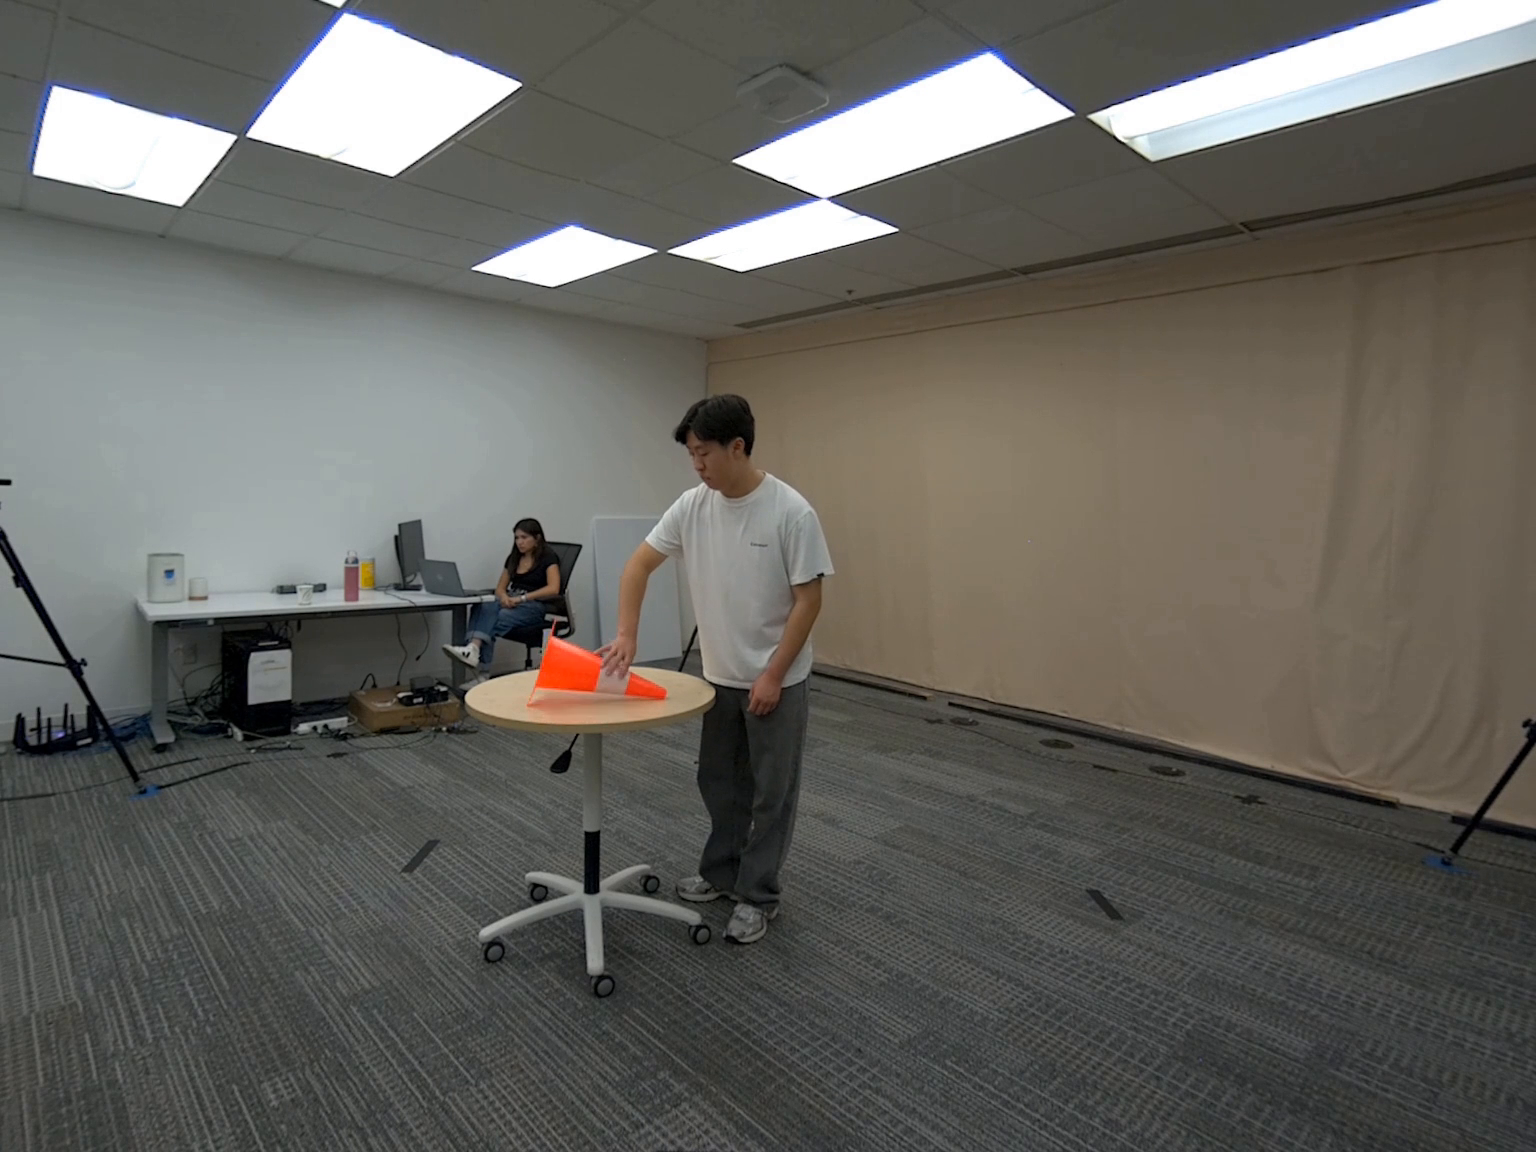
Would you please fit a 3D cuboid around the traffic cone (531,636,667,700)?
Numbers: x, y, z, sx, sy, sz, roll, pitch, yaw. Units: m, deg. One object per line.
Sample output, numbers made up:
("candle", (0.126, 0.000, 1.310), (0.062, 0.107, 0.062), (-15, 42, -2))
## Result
("traffic cone", (-0.492, 0.321, 2.499), (0.379, 0.203, 0.207), (21, 32, -14))
